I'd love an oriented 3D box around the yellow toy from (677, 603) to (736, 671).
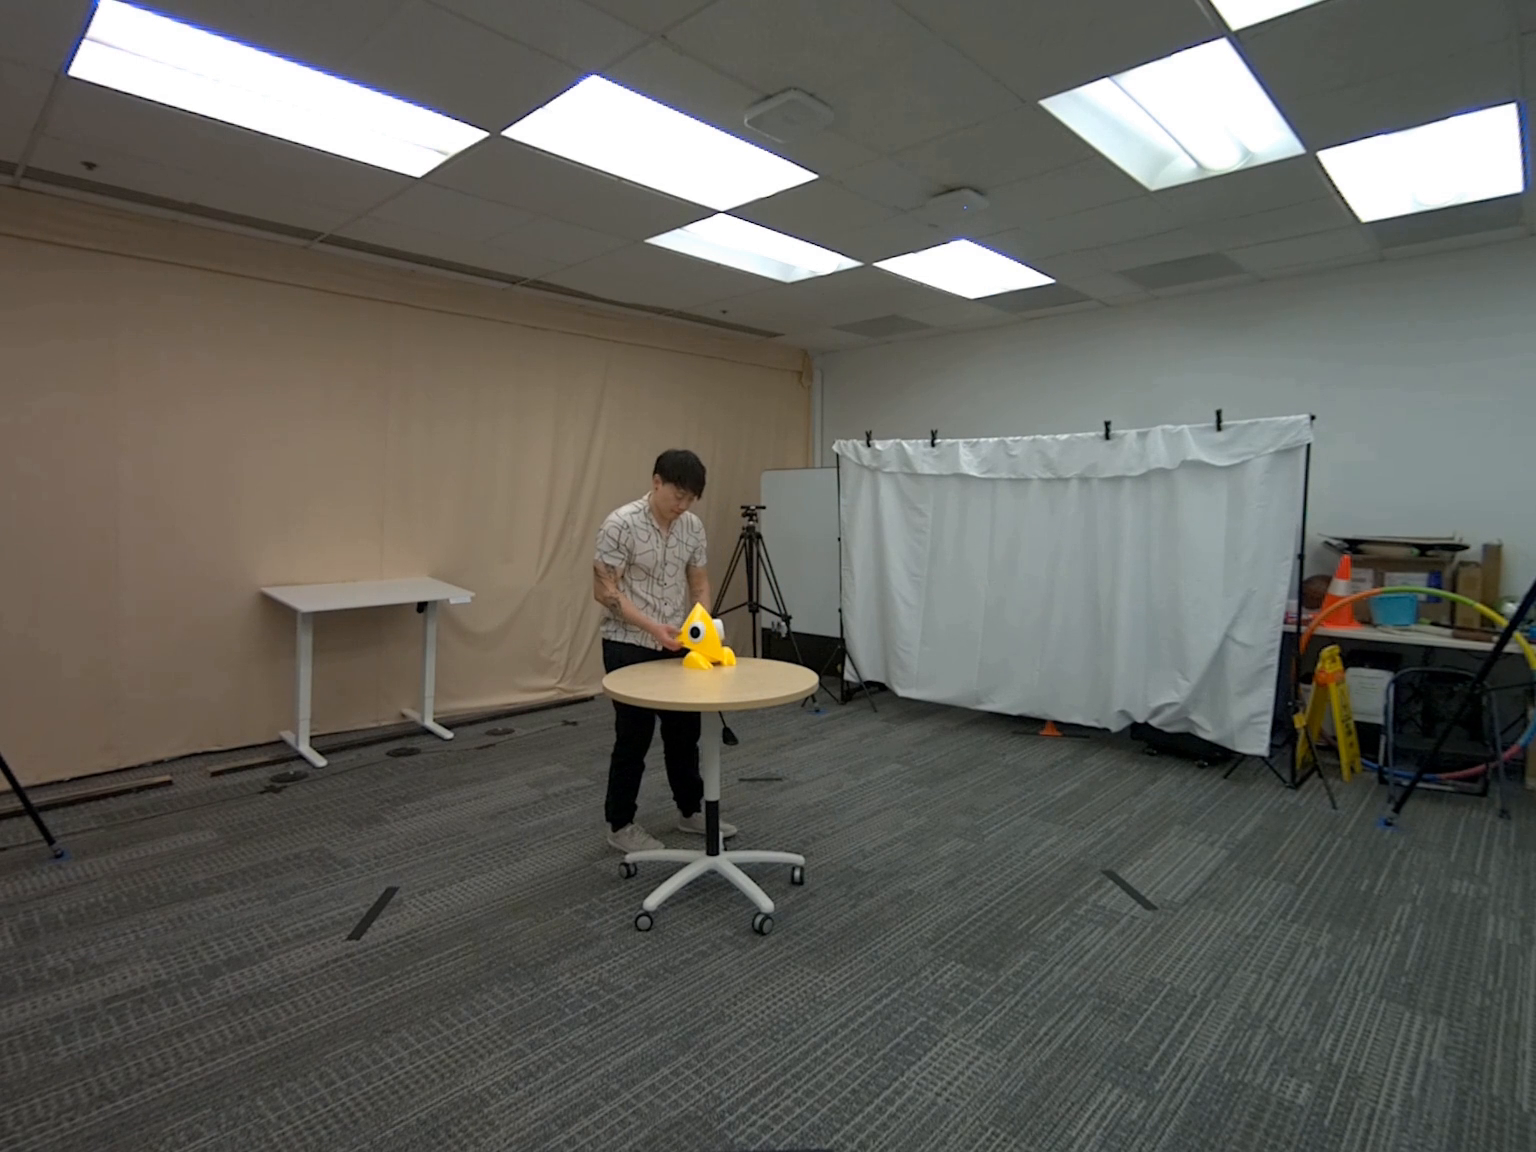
[{"bbox_3d":[-0.230,0.225,3.237,0.199,0.230,0.199,-4,6,-36],"label":"yellow toy"}]
